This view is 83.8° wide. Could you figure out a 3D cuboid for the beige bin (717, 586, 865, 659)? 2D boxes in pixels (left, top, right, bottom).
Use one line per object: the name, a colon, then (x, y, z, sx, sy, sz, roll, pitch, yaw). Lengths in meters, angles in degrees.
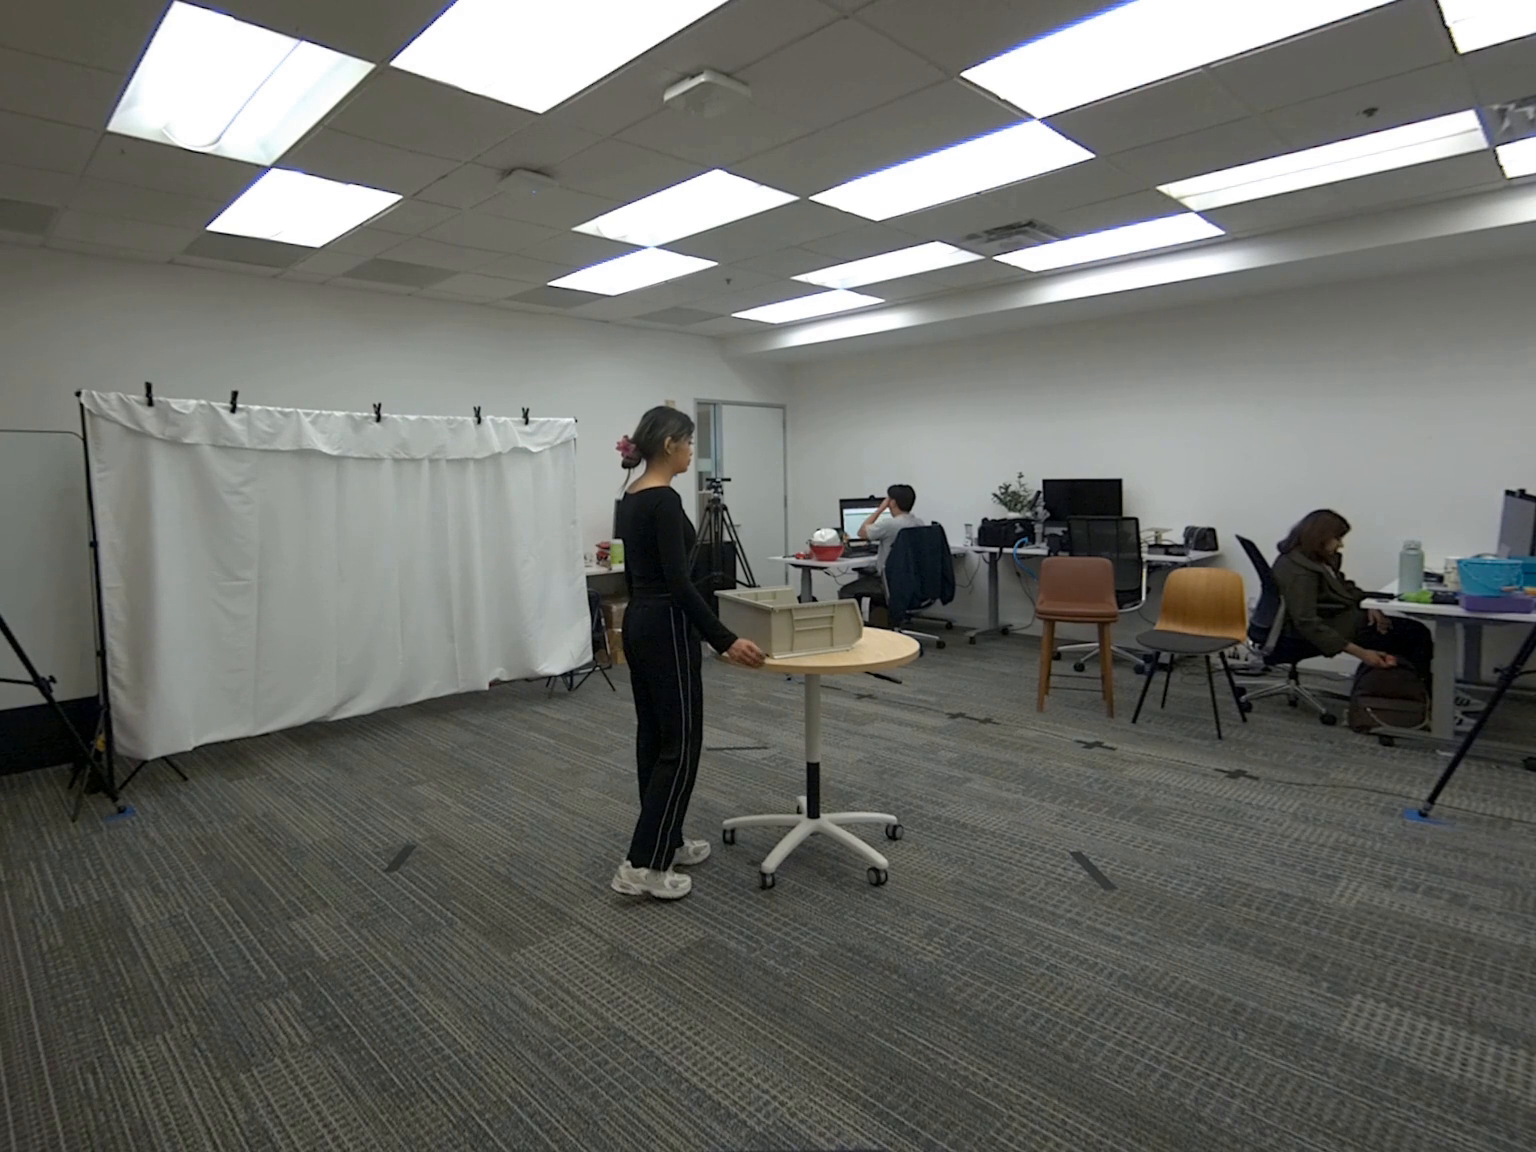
beige bin: (0.073, 0.156, 3.095, 0.369, 0.188, 0.434, -6, 8, -29)
